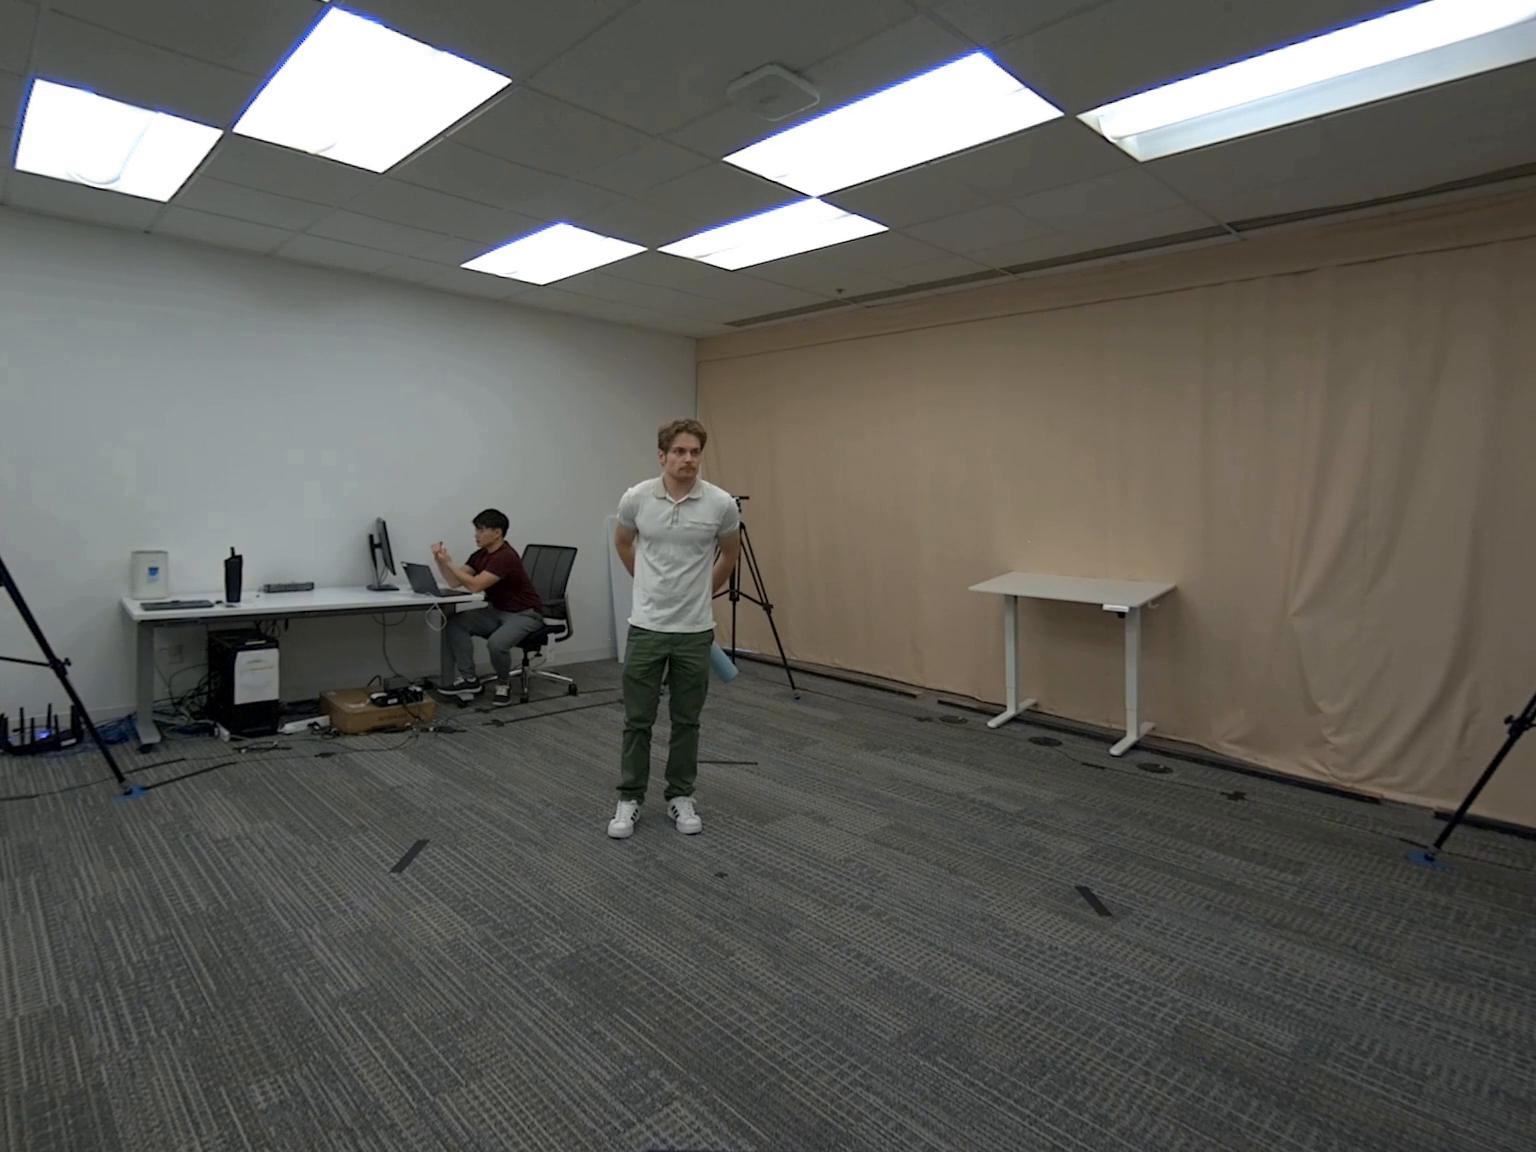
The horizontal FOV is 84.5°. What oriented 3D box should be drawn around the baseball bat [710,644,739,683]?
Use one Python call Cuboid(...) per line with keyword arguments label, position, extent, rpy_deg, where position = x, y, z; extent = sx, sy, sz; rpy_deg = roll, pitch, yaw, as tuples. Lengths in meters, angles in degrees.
Cuboid(label="baseball bat", position=(-0.339, 0.260, 3.799), extent=(0.089, 0.540, 0.089), rpy_deg=(-34, 6, 3))
